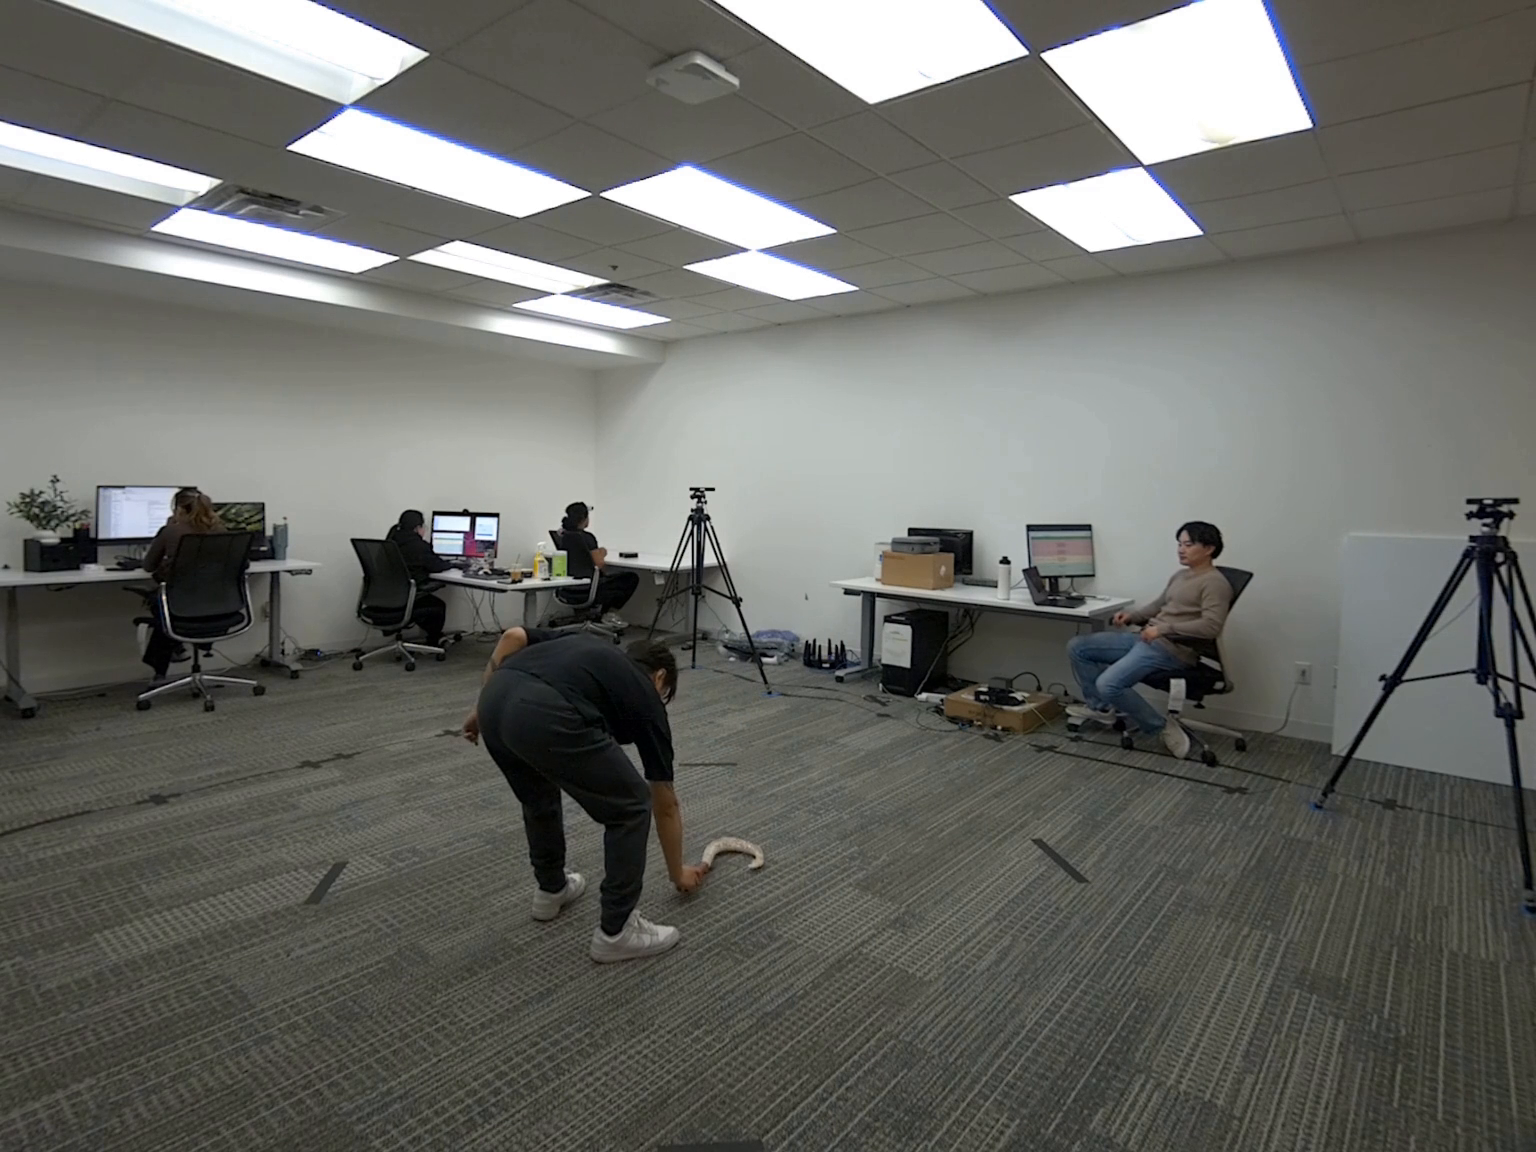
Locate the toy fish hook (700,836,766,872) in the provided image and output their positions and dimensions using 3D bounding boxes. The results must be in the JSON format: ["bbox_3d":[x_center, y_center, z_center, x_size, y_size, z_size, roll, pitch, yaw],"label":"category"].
[{"bbox_3d":[-0.171,1.026,3.052,0.230,0.048,0.495,5,4,22],"label":"toy fish hook"}]
